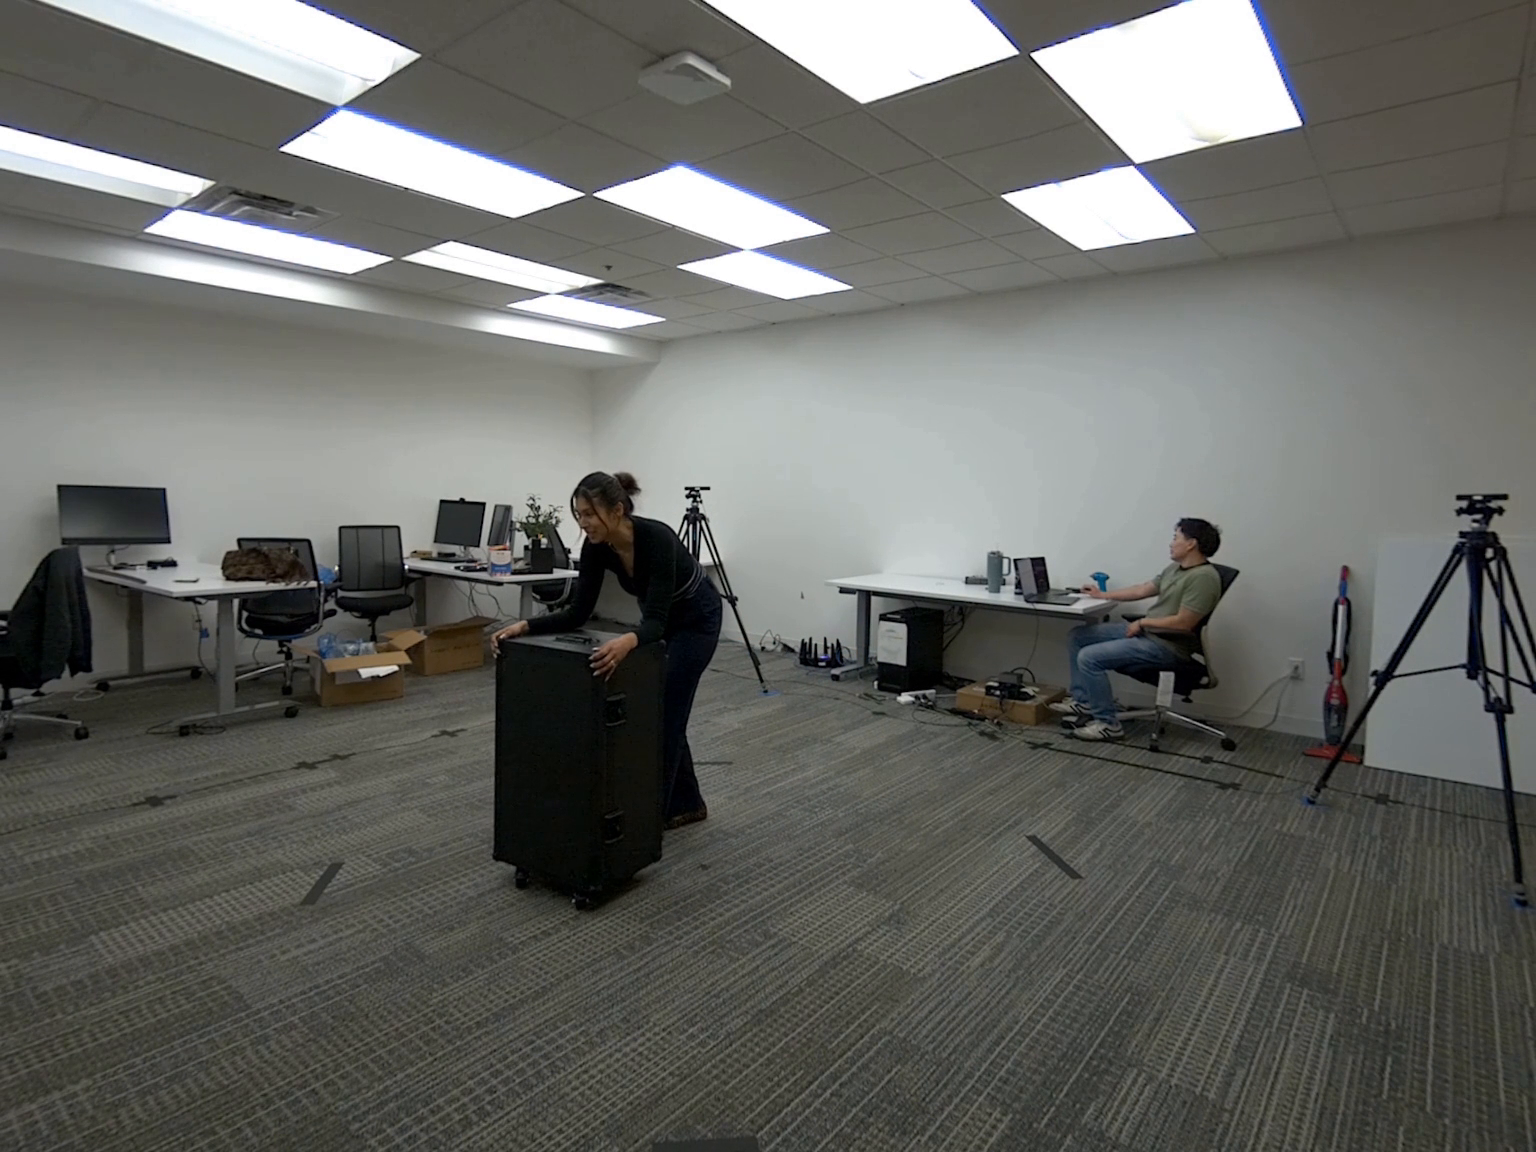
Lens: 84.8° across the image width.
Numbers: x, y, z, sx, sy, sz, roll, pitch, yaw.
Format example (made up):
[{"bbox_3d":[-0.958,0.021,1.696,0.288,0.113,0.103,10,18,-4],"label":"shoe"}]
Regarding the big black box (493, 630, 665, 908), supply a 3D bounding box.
[{"bbox_3d":[-0.675,0.645,2.998,0.537,0.861,0.385,3,1,32],"label":"big black box"}]
